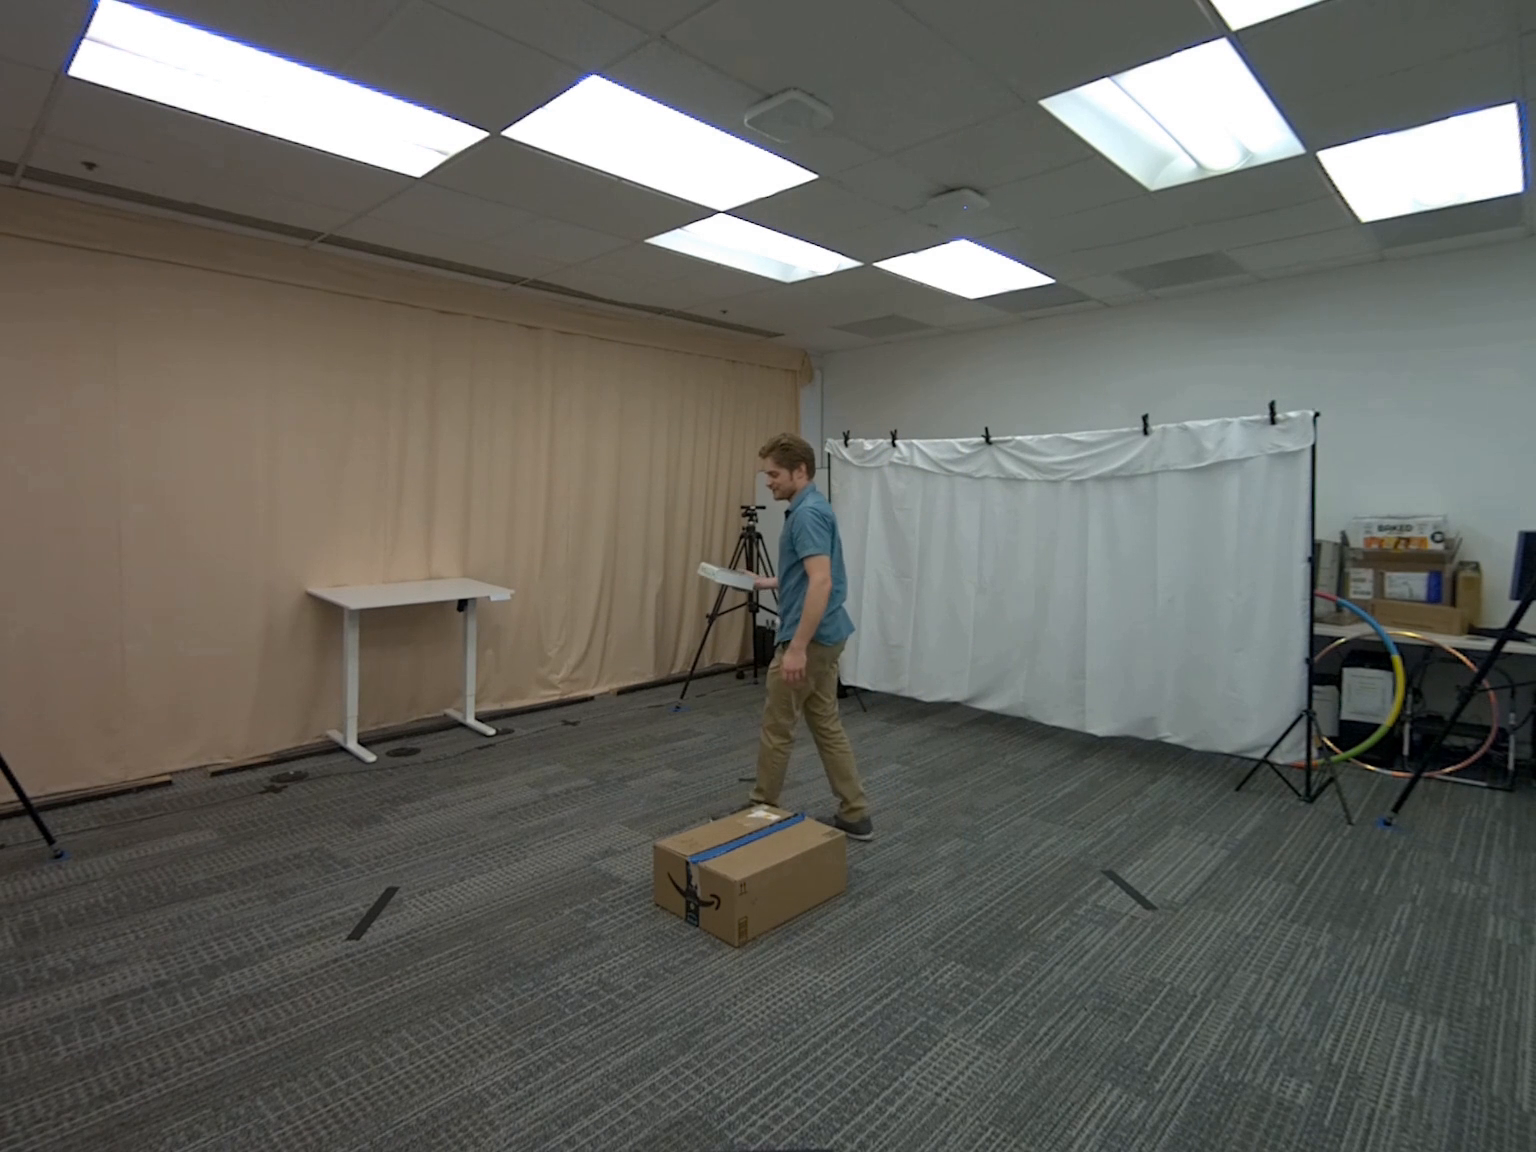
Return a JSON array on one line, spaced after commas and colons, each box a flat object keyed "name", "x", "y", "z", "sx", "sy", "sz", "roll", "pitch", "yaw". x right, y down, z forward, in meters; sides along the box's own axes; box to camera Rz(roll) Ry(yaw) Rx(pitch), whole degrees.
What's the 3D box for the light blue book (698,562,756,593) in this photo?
[{"name": "light blue book", "x": -0.182, "y": 0.001, "z": 3.732, "sx": 0.188, "sy": 0.059, "sz": 0.266, "roll": 14, "pitch": 3, "yaw": -18}]
